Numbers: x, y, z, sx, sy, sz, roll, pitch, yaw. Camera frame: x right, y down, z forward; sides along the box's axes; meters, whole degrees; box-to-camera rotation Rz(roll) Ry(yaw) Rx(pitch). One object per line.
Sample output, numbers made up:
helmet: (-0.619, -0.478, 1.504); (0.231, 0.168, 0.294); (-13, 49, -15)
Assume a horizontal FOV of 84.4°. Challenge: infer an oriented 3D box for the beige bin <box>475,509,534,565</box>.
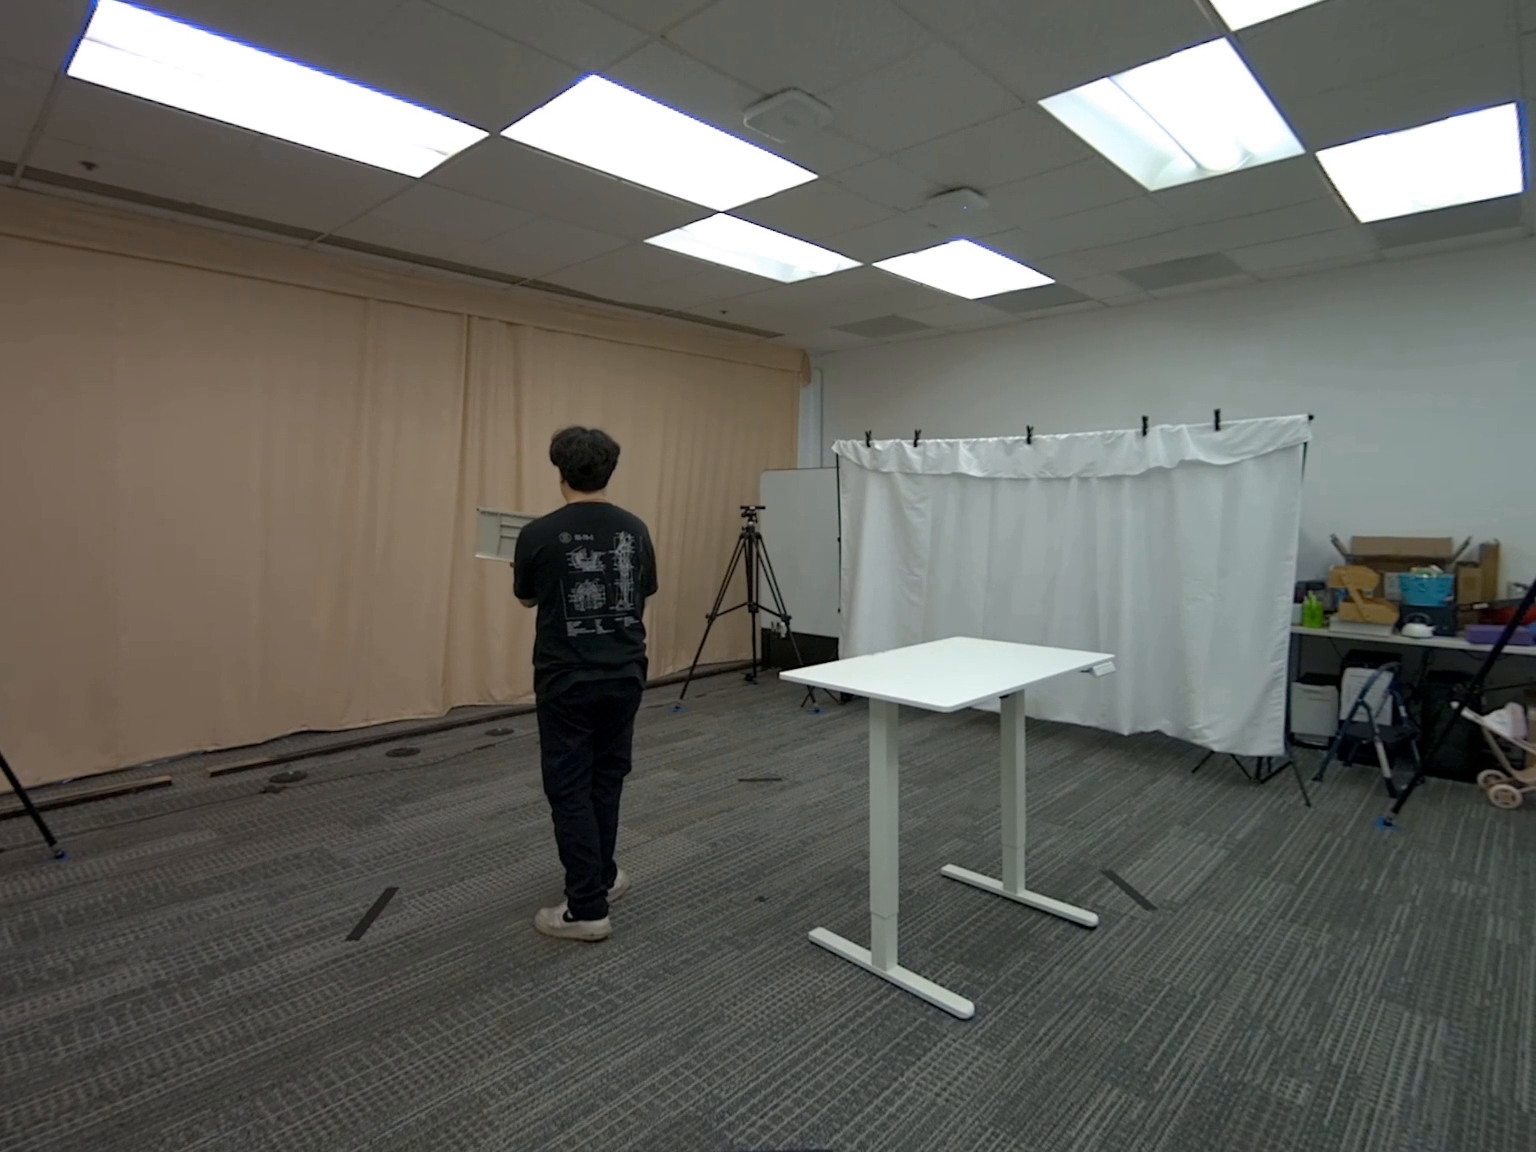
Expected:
beige bin: (-0.849, -0.136, 3.164); (0.379, 0.189, 0.420); (7, 2, 3)
